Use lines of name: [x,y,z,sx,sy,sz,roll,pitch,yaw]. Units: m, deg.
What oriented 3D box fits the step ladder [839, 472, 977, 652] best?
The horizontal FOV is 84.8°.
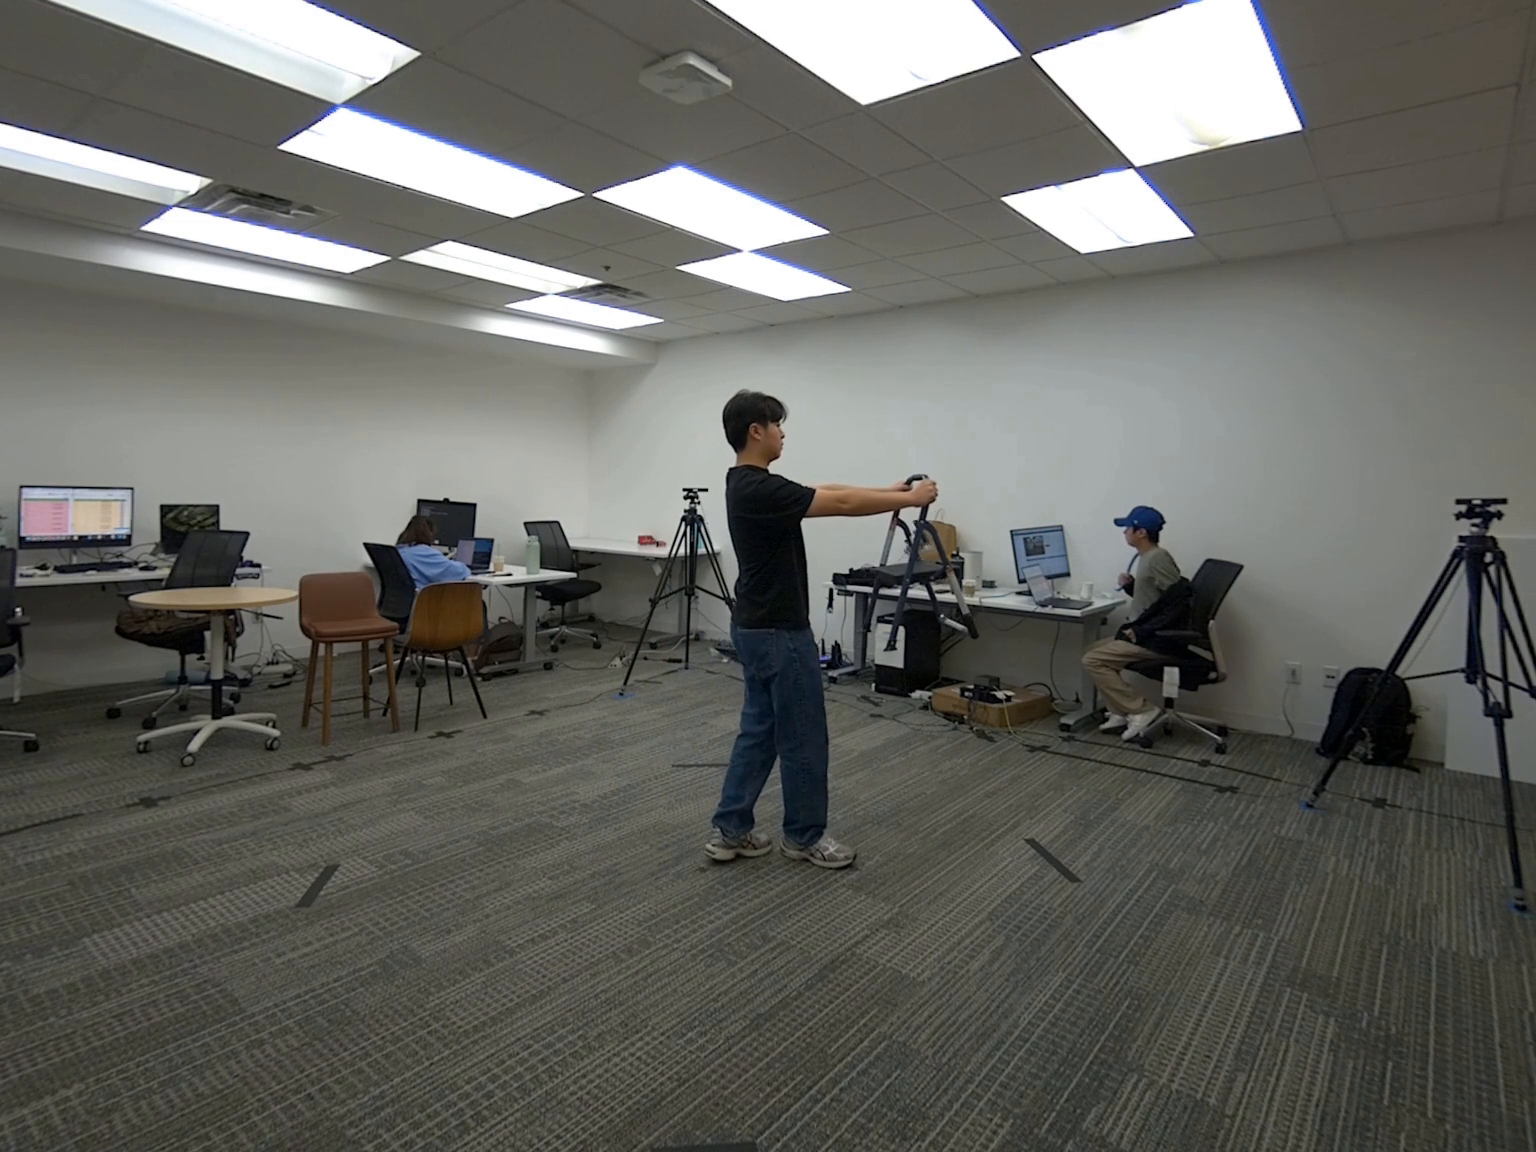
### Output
step ladder: [0.518,-0.071,3.216,0.348,0.604,0.434,-6,4,-5]
